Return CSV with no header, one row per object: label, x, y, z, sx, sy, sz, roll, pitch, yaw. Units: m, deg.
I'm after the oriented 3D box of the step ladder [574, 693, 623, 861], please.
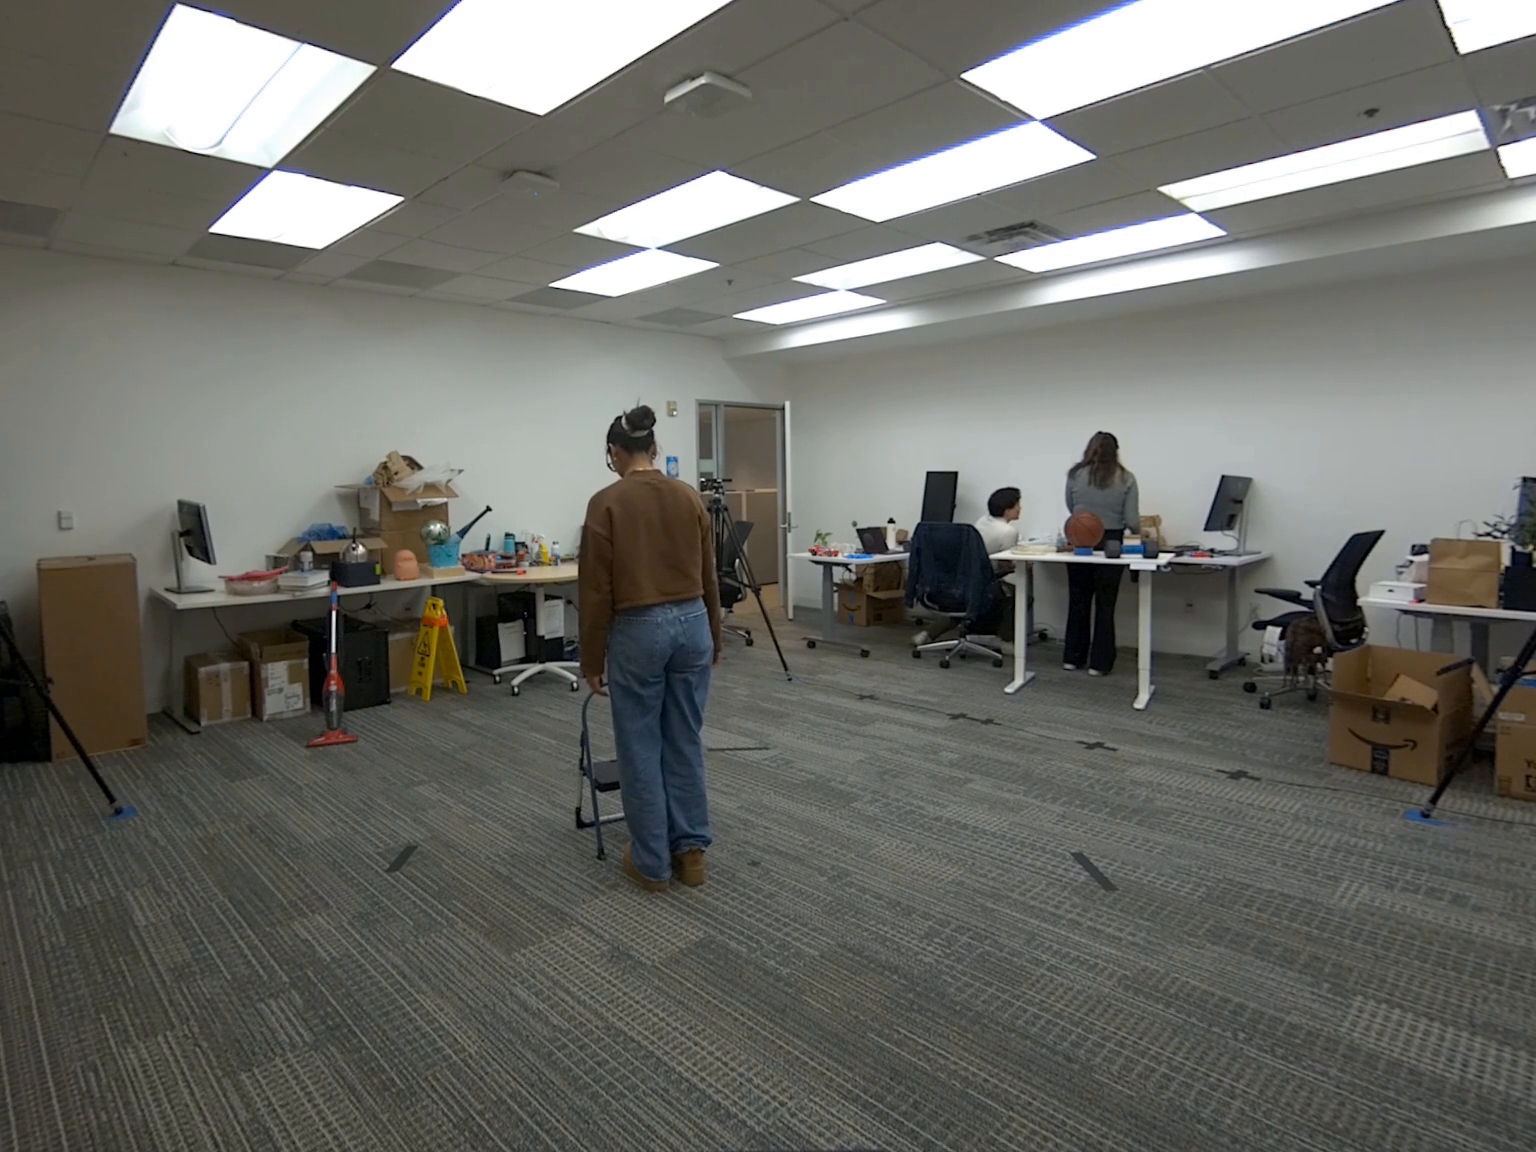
step ladder,-0.522,0.718,3.380,0.421,0.603,0.358,-4,5,-27
